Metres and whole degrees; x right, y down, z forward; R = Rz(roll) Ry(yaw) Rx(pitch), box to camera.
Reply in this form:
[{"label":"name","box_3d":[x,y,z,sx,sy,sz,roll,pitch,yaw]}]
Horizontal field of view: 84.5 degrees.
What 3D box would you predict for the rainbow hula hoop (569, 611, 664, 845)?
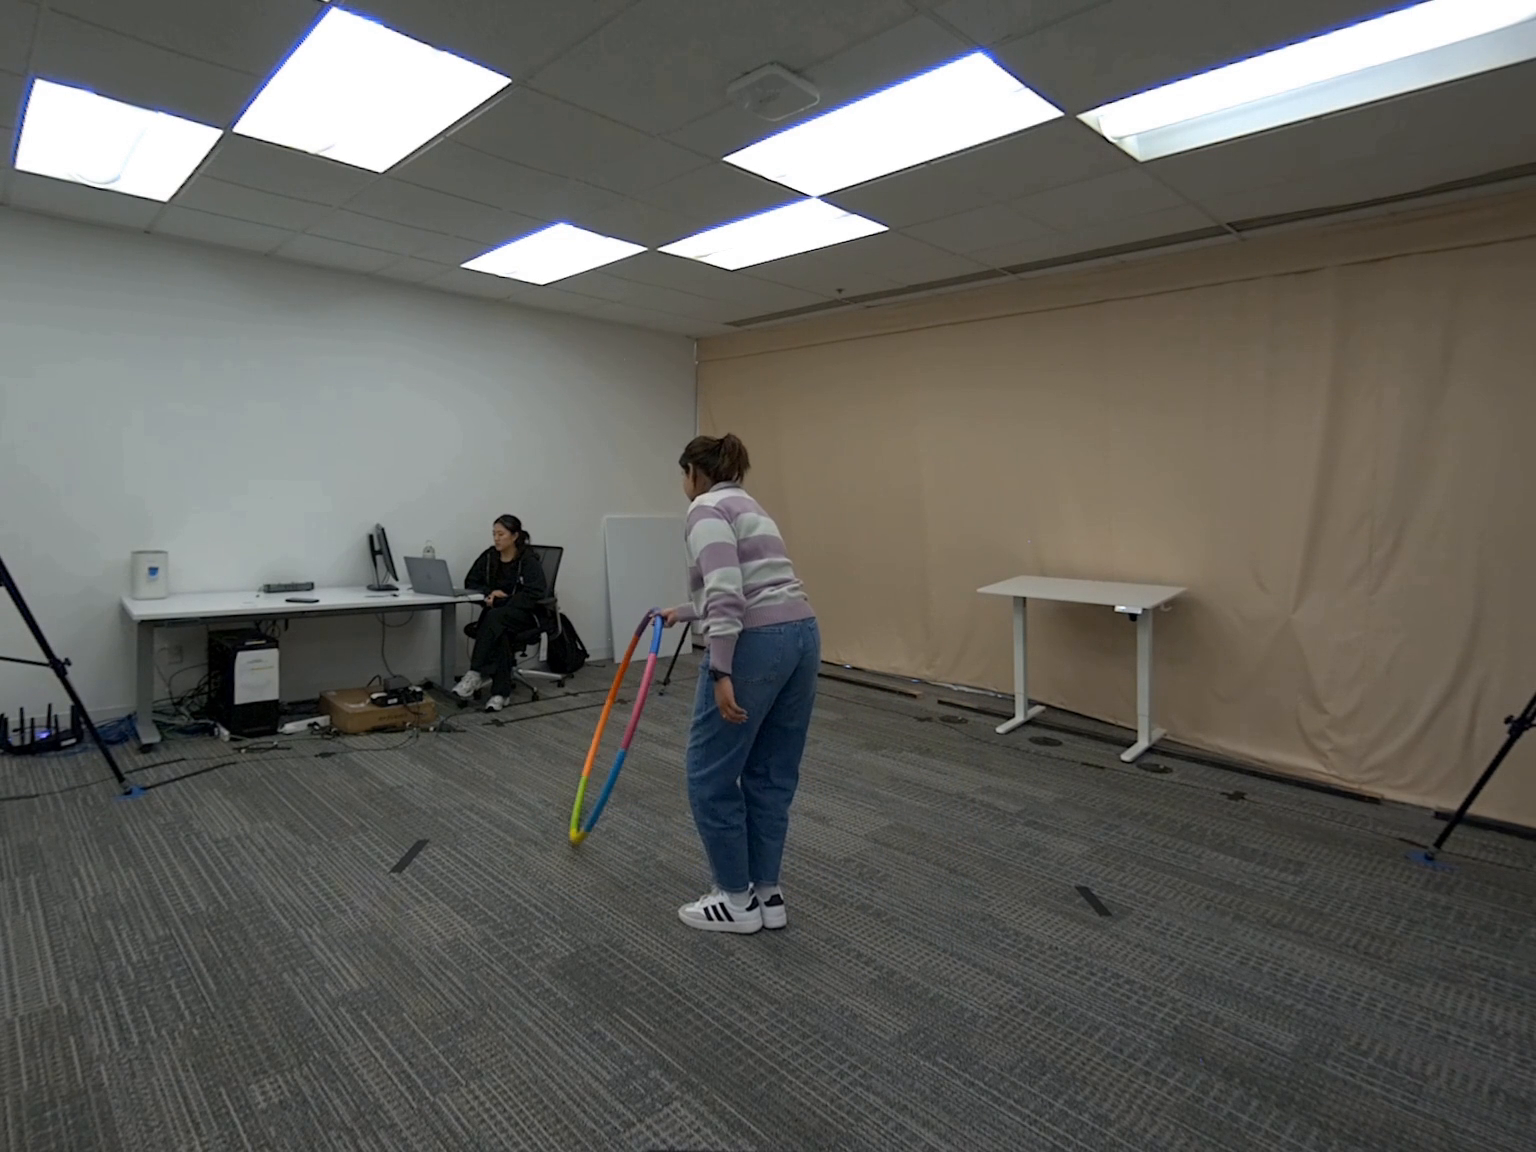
[{"label":"rainbow hula hoop","box_3d":[-0.619,0.598,3.433,0.051,0.985,0.997,22,0,-13]}]
